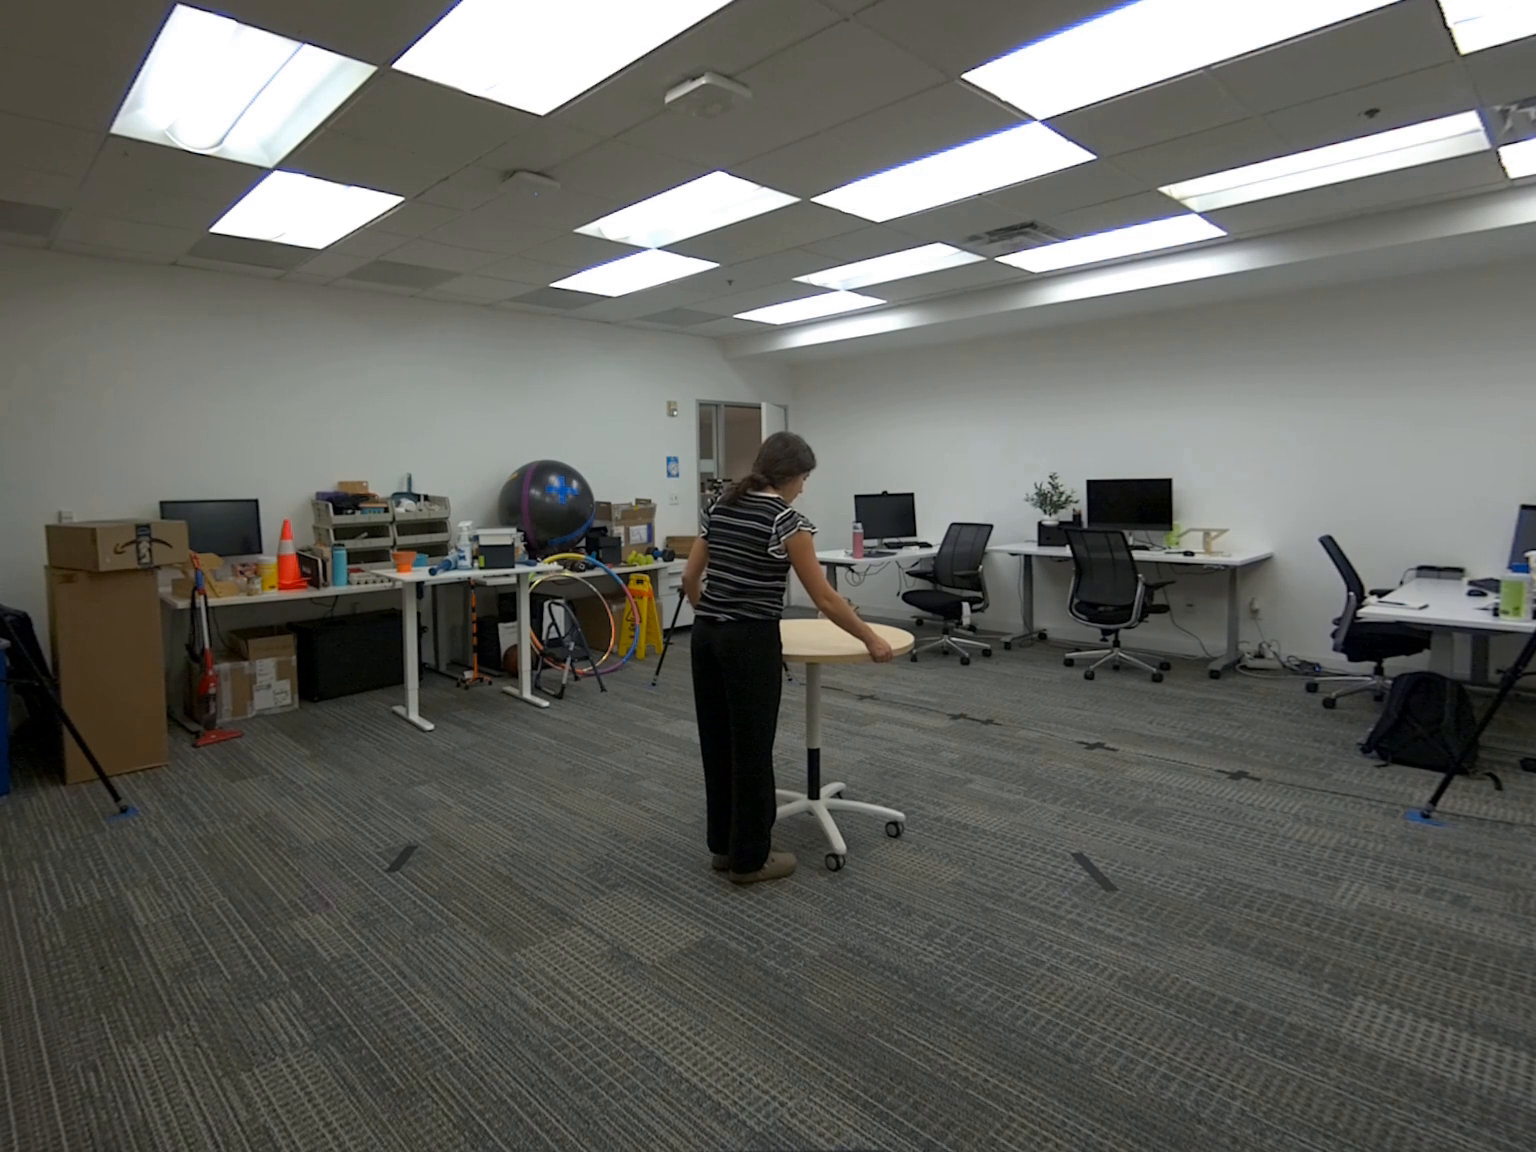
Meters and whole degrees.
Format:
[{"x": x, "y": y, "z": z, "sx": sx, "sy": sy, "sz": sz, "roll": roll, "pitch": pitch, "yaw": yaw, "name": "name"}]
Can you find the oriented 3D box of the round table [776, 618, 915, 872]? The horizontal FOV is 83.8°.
[{"x": 0.178, "y": 0.619, "z": 3.328, "sx": 0.784, "sy": 0.784, "sz": 0.789, "roll": -1, "pitch": 4, "yaw": -2, "name": "round table"}]
